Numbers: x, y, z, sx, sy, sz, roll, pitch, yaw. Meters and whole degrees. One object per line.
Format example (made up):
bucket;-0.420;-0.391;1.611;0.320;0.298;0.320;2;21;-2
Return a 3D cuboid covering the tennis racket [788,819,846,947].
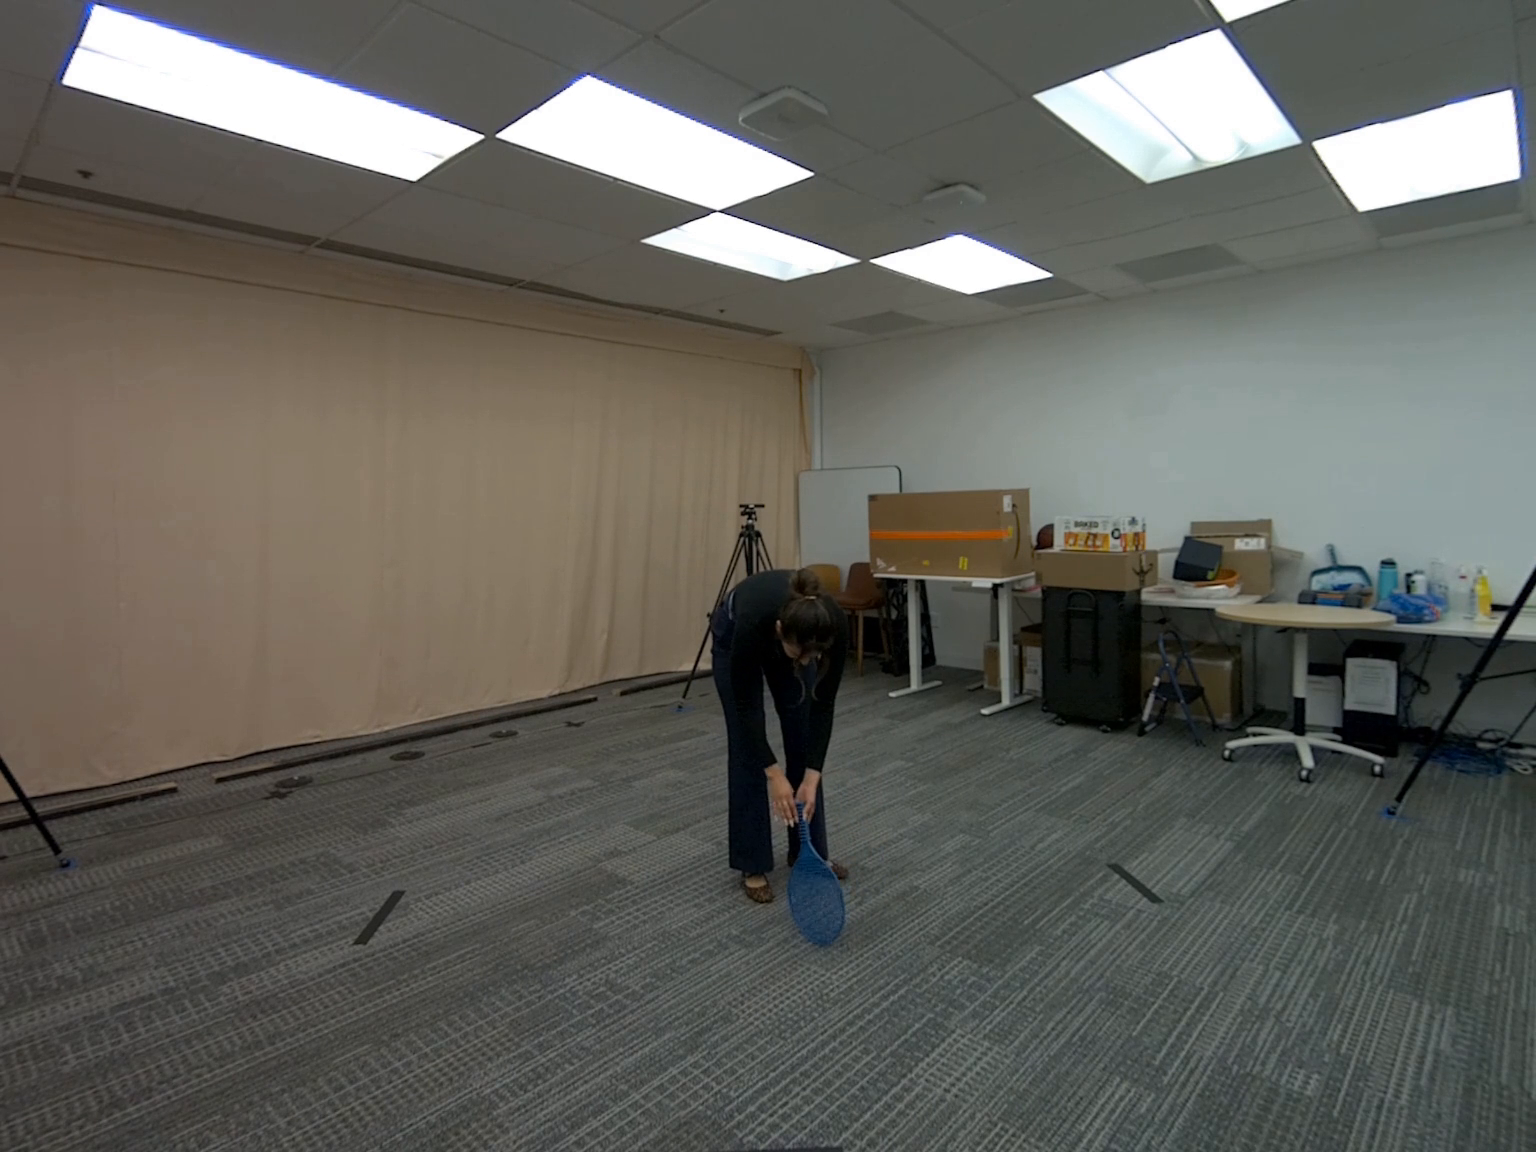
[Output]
tennis racket;0.135;0.946;2.708;0.218;0.439;0.030;-23;-22;36
